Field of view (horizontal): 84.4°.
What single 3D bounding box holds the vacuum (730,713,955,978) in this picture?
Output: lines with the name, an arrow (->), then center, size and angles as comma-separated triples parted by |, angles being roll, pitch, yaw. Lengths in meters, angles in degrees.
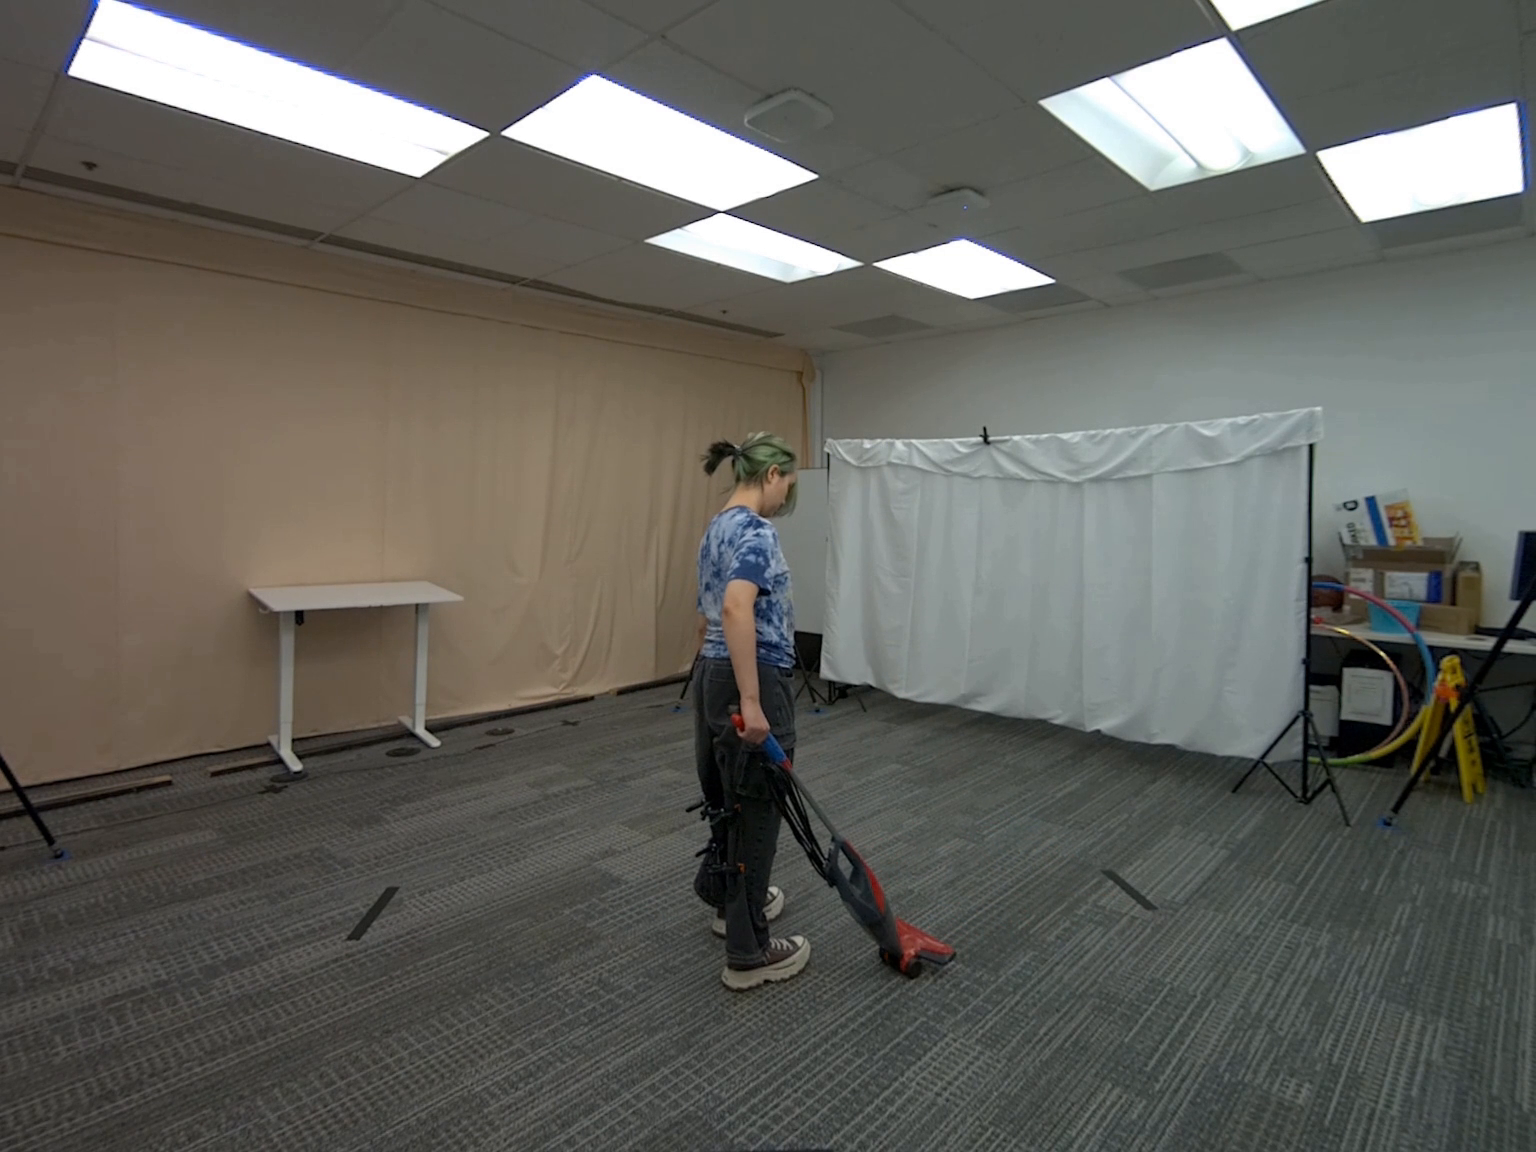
vacuum -> 0.181, 0.777, 2.351 | 0.143, 1.023, 0.260 | -48, 27, -24
